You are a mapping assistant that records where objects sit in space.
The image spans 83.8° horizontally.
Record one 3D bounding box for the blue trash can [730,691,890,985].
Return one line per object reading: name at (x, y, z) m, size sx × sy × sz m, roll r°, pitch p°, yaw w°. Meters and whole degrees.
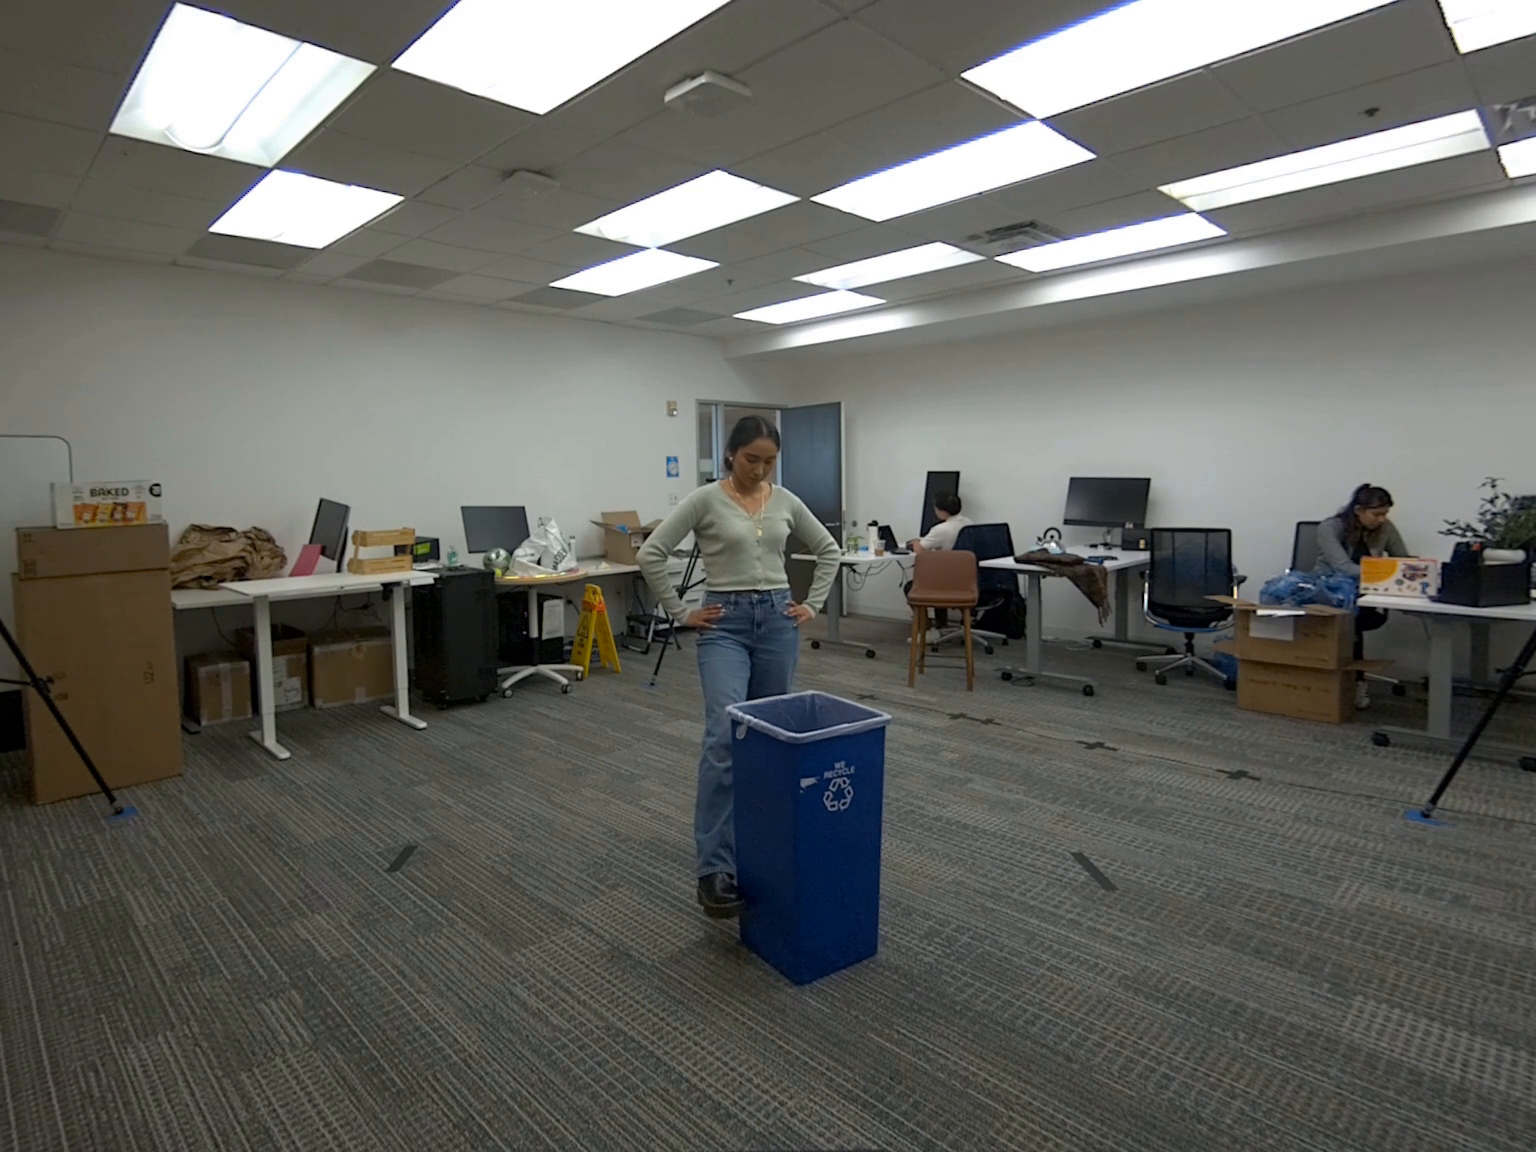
blue trash can at (0.130, 0.751, 2.522) m, size 0.368 × 0.711 × 0.385 m, roll -3°, pitch 4°, yaw -35°
